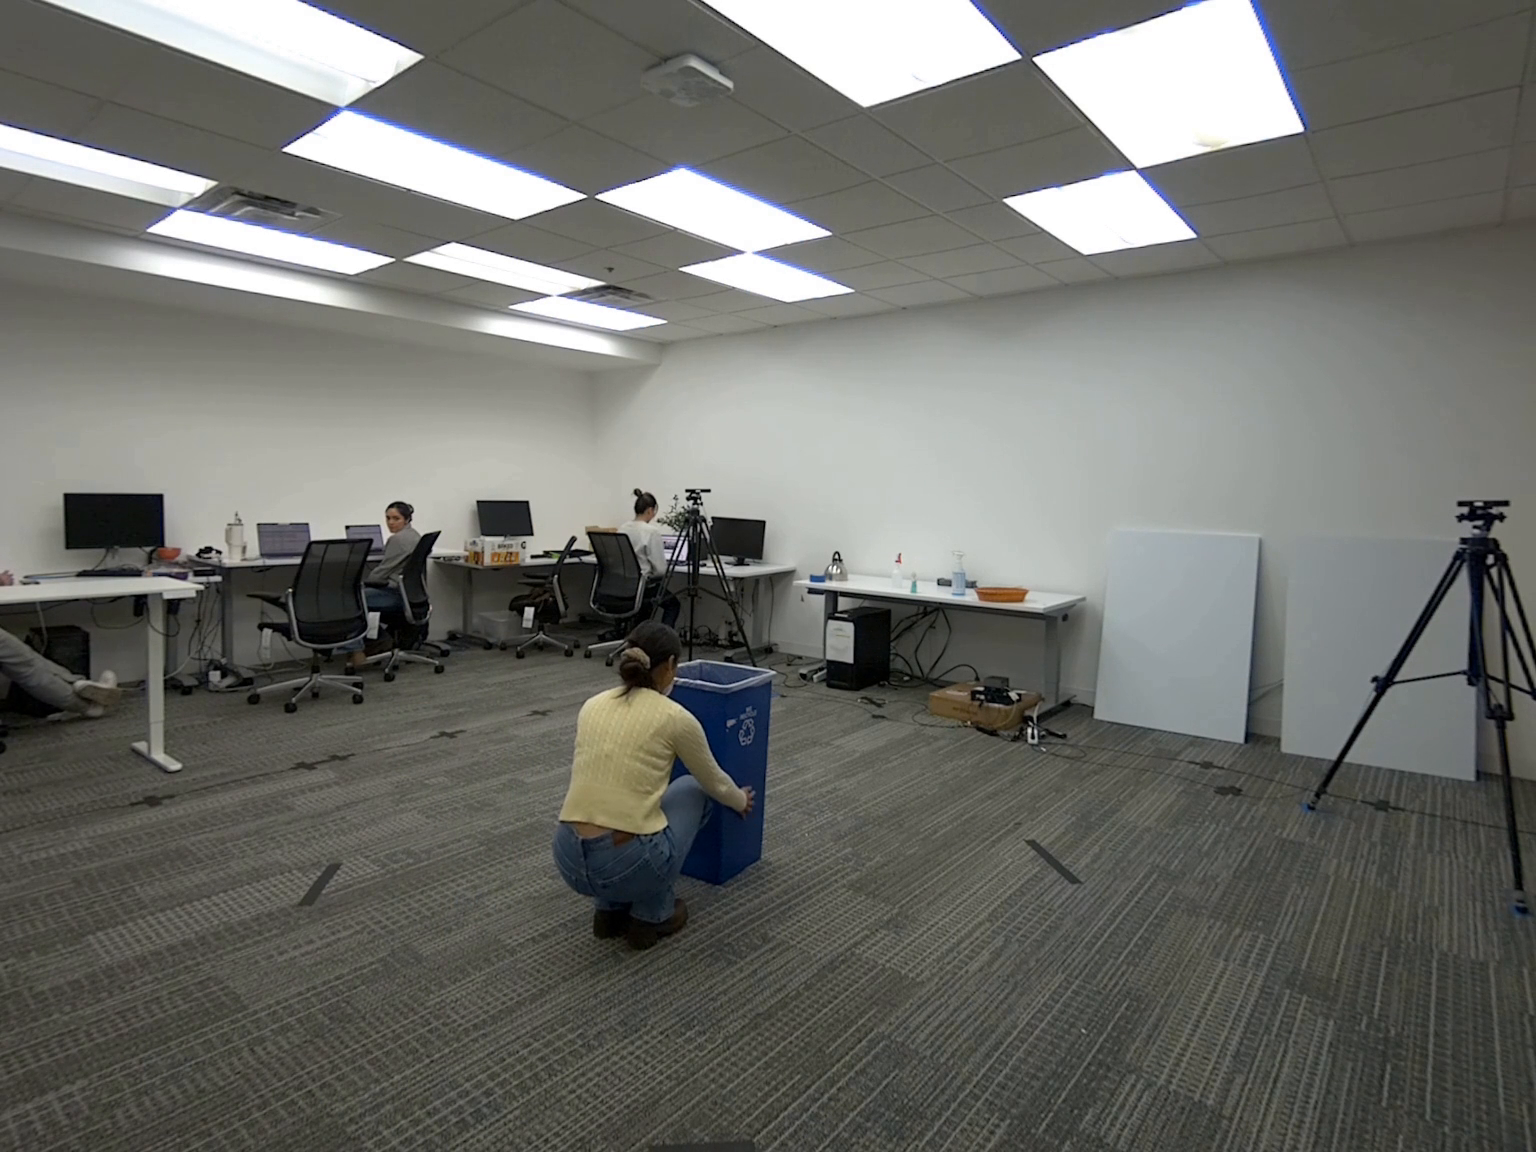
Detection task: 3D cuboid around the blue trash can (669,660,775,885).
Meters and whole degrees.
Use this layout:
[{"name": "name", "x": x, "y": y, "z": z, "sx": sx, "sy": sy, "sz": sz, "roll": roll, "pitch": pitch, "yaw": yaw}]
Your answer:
[{"name": "blue trash can", "x": -0.223, "y": 0.709, "z": 3.181, "sx": 0.389, "sy": 0.711, "sz": 0.364, "roll": 3, "pitch": 4, "yaw": 31}]
